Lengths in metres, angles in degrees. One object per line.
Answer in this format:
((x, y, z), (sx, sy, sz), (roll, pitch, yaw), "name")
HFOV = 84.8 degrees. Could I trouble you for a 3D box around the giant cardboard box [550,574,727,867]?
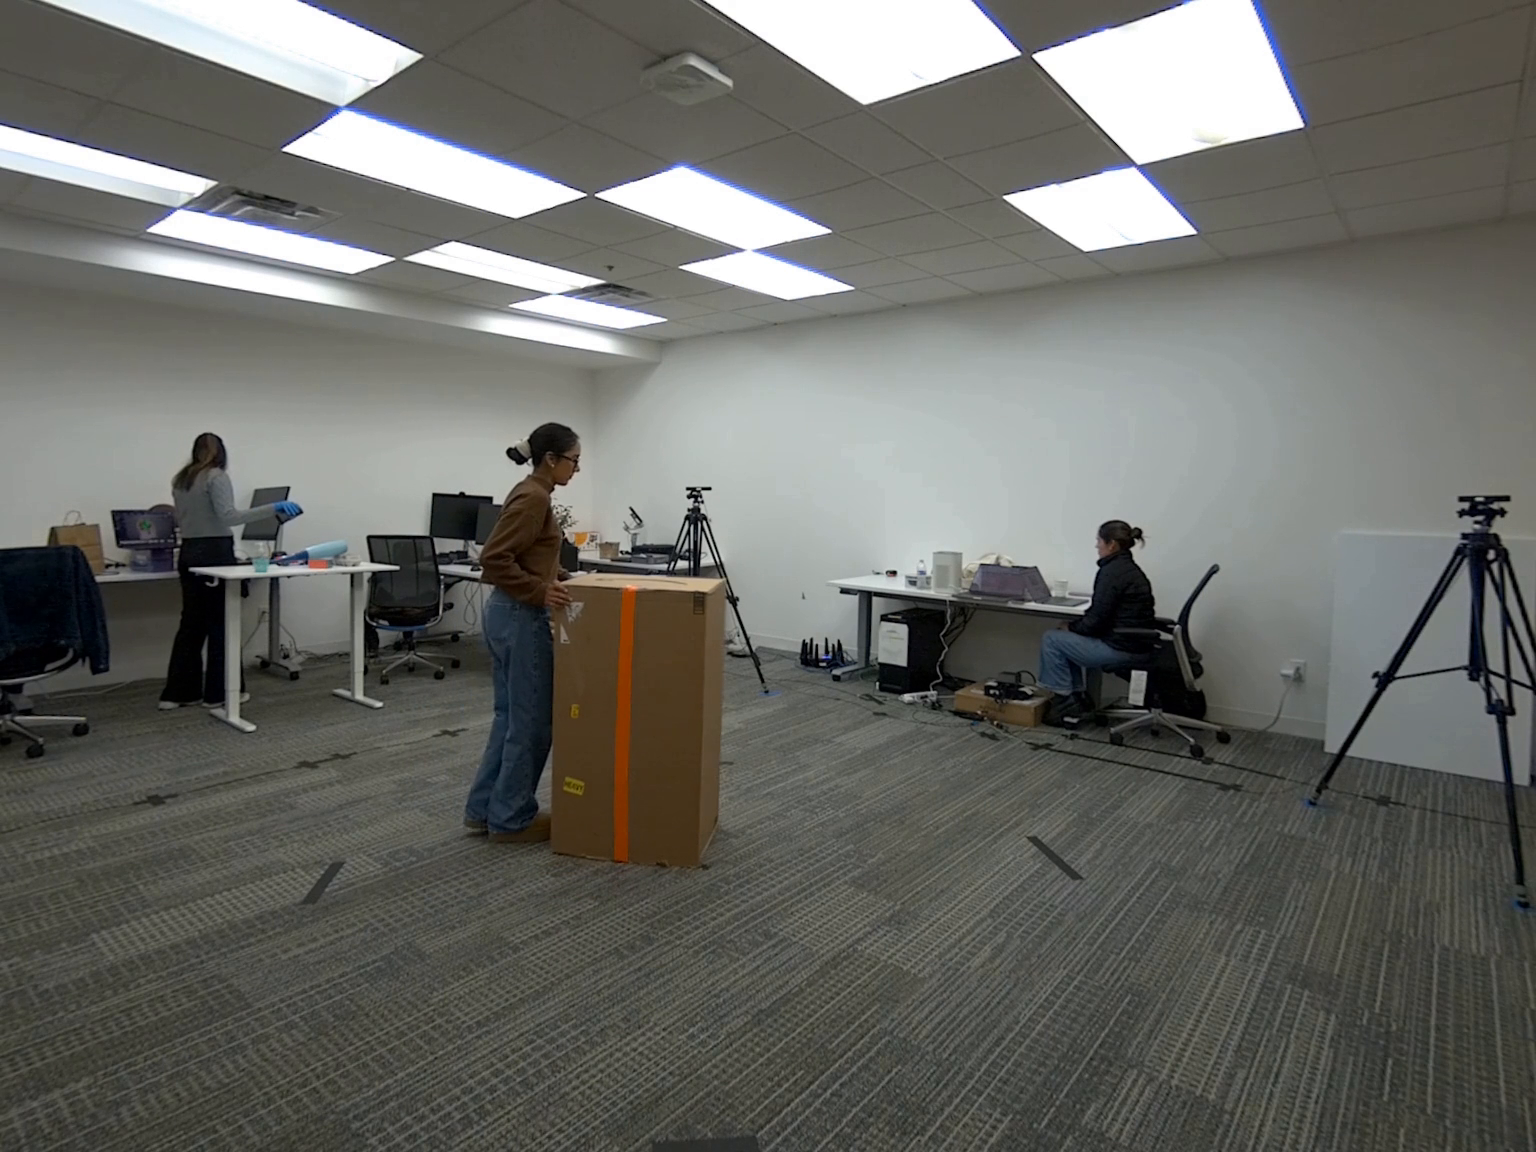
((-0.503, 0.529, 3.318), (0.584, 1.022, 0.423), (2, 4, 10), "giant cardboard box")
